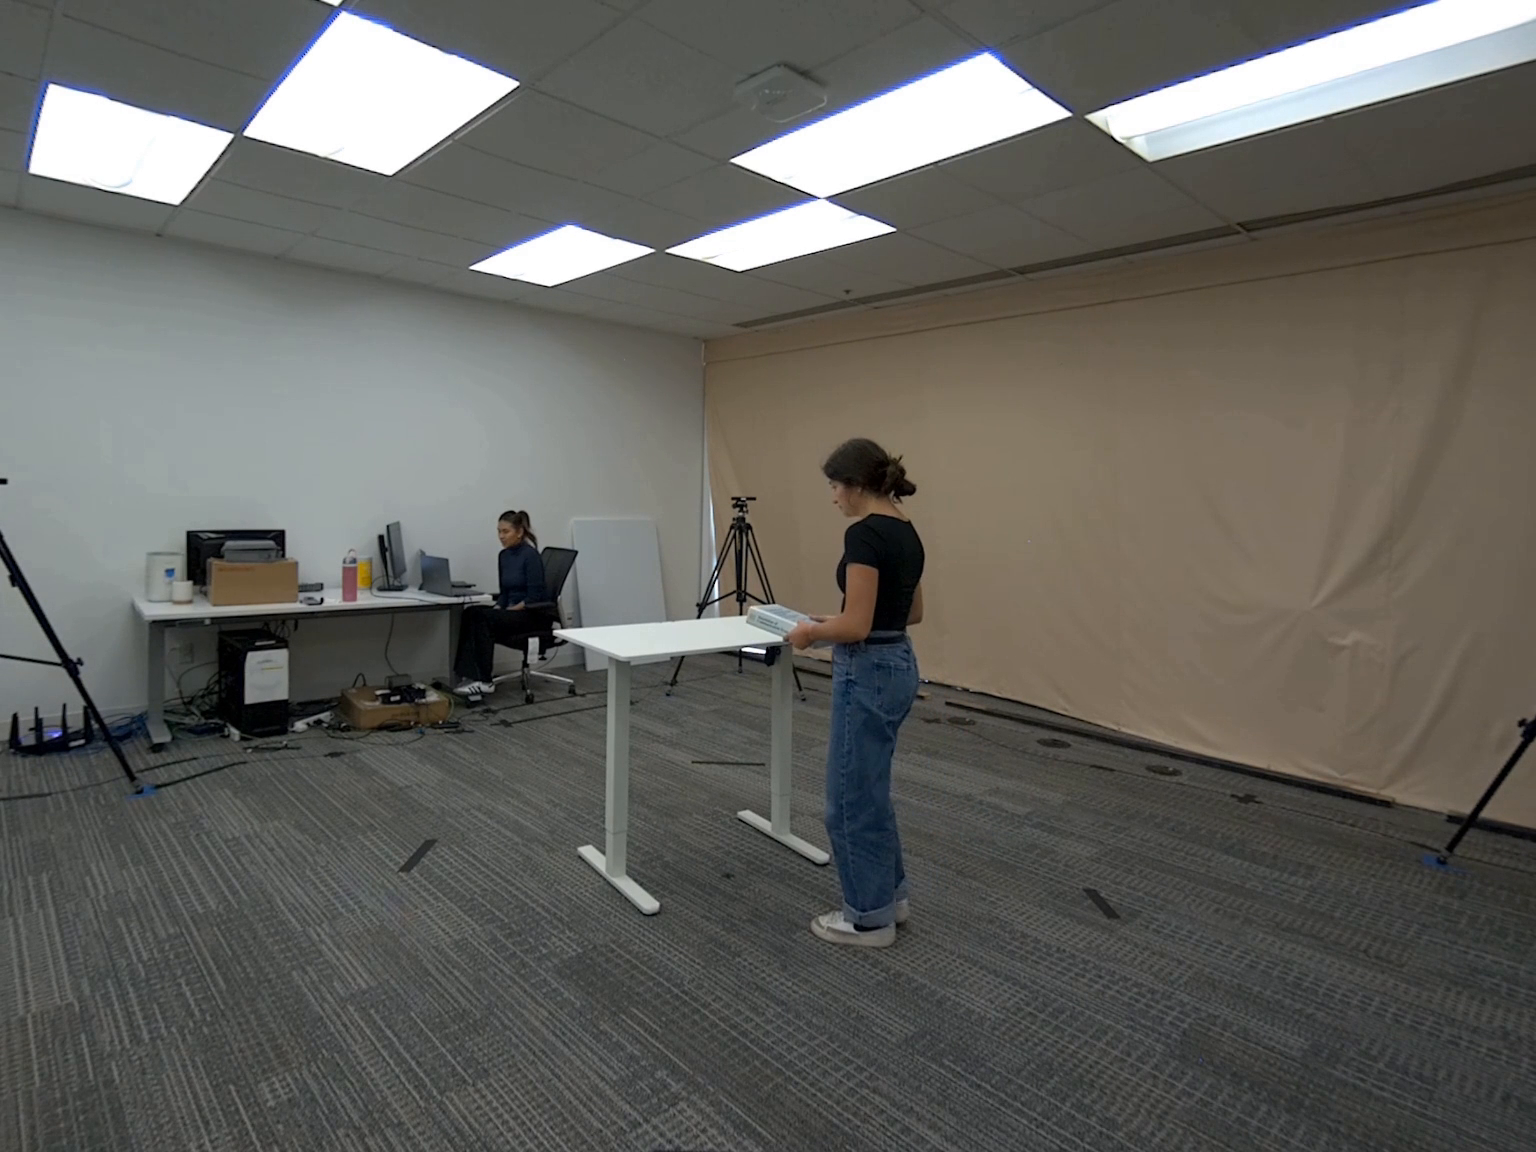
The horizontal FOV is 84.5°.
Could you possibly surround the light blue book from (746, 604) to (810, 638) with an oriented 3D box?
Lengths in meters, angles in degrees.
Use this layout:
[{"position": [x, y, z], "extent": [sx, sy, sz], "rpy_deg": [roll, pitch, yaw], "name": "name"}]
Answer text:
[{"position": [0.087, 0.166, 2.809], "extent": [0.267, 0.059, 0.187], "rpy_deg": [18, 10, 27], "name": "light blue book"}]
